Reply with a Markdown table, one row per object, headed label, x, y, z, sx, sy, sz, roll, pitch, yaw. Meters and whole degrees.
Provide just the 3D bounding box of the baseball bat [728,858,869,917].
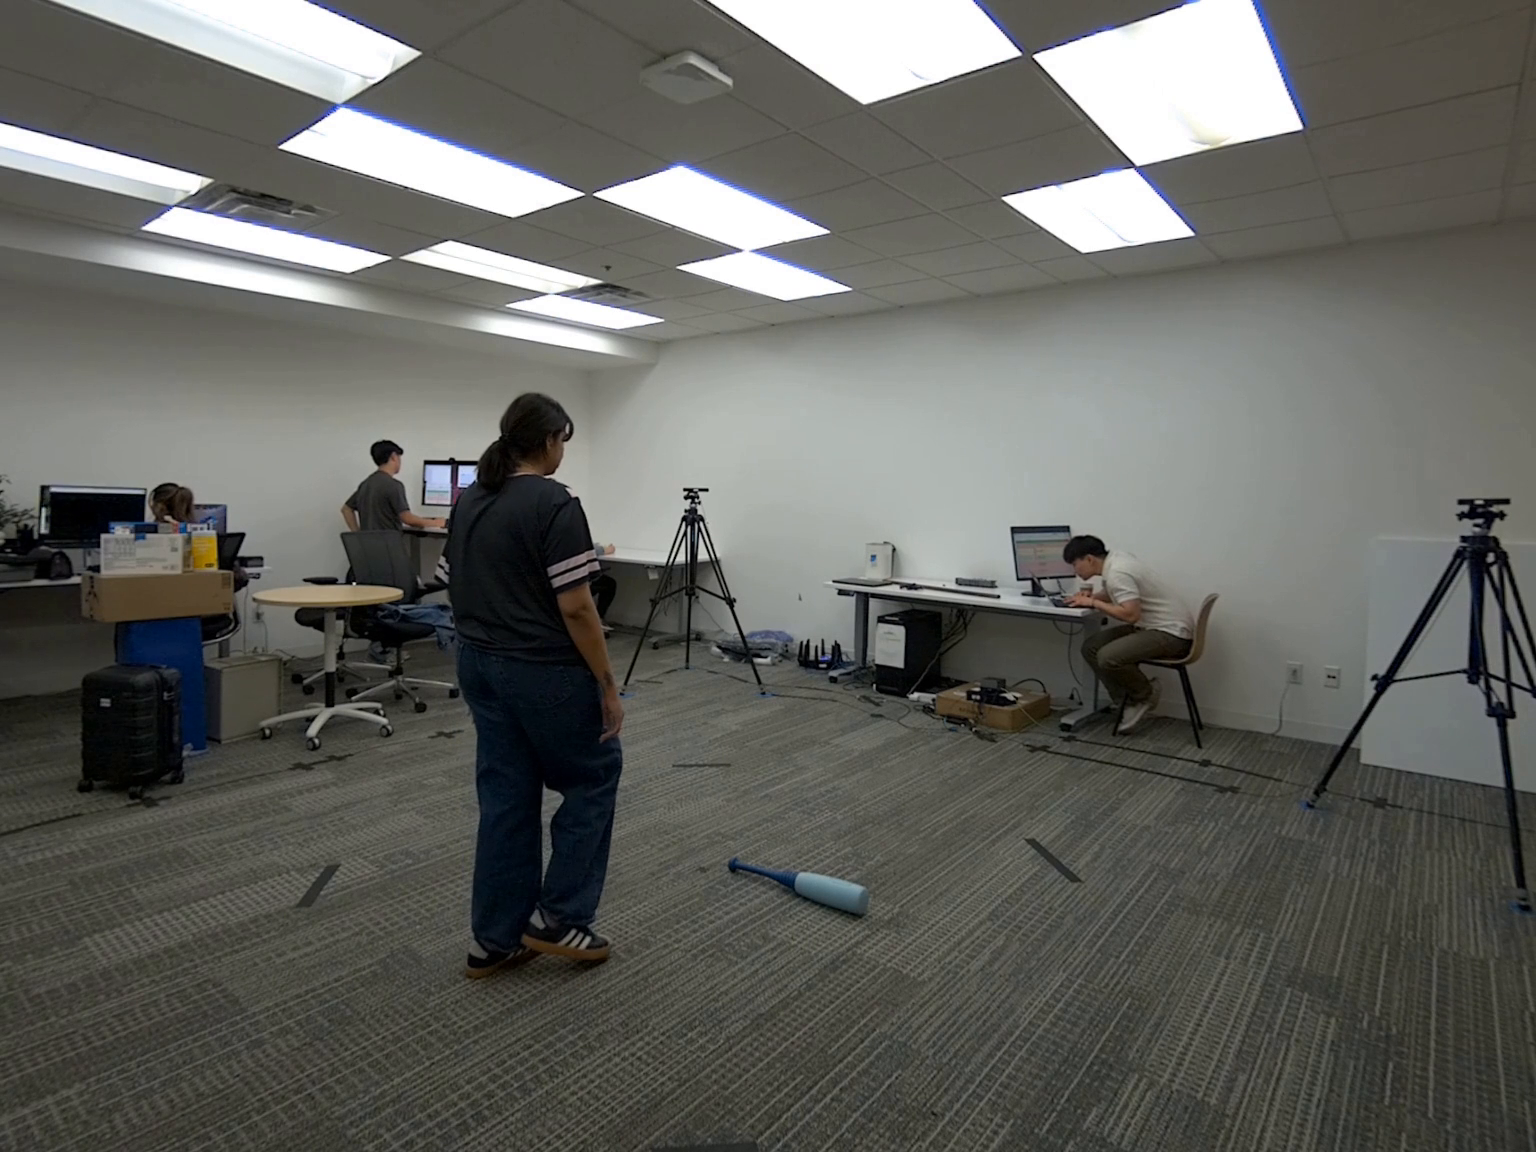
| label | x | y | z | sx | sy | sz | roll | pitch | yaw |
| --- | --- | --- | --- | --- | --- | --- | --- | --- | --- |
| baseball bat | 0.085 | 1.055 | 2.944 | 0.560 | 0.089 | 0.086 | 2 | 4 | 35 |
